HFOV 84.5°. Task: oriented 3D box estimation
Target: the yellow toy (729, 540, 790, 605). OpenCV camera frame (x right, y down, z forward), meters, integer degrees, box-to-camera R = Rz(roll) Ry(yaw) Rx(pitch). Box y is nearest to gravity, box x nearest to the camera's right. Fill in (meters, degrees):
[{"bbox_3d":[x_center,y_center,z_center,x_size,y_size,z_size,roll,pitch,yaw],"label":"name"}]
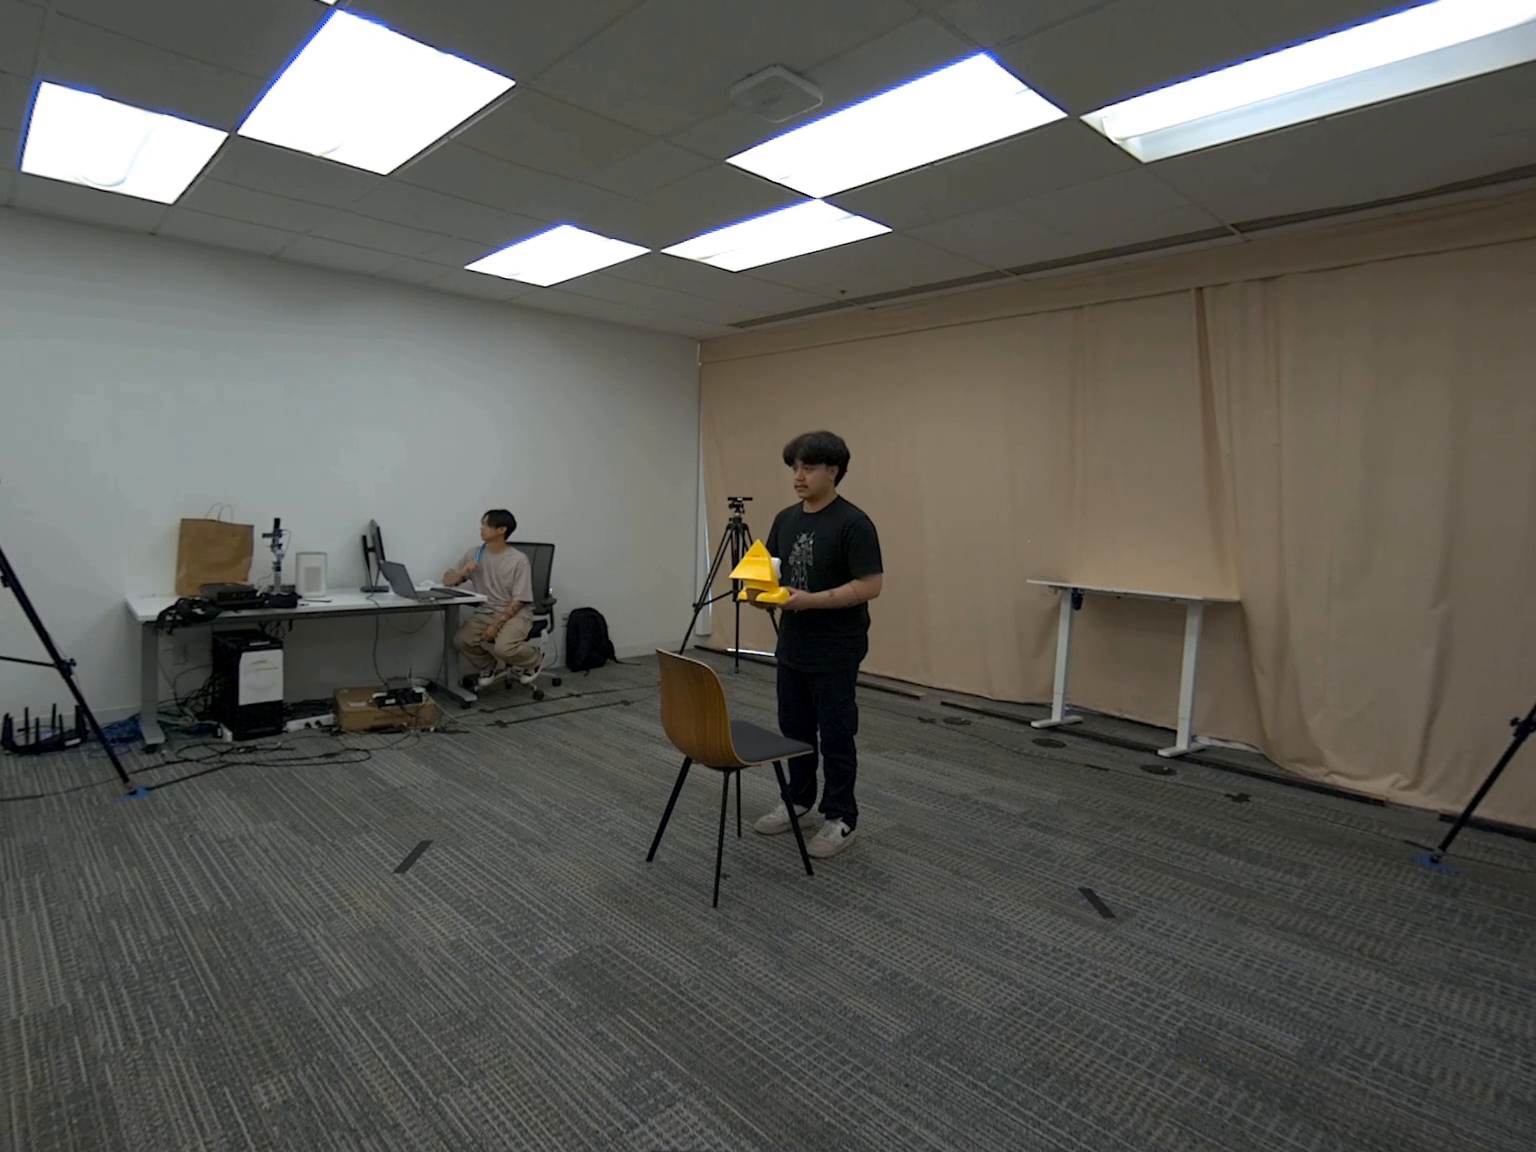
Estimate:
[{"bbox_3d":[-0.015,-0.018,3.221,0.210,0.231,0.188,4,0,39],"label":"yellow toy"}]
